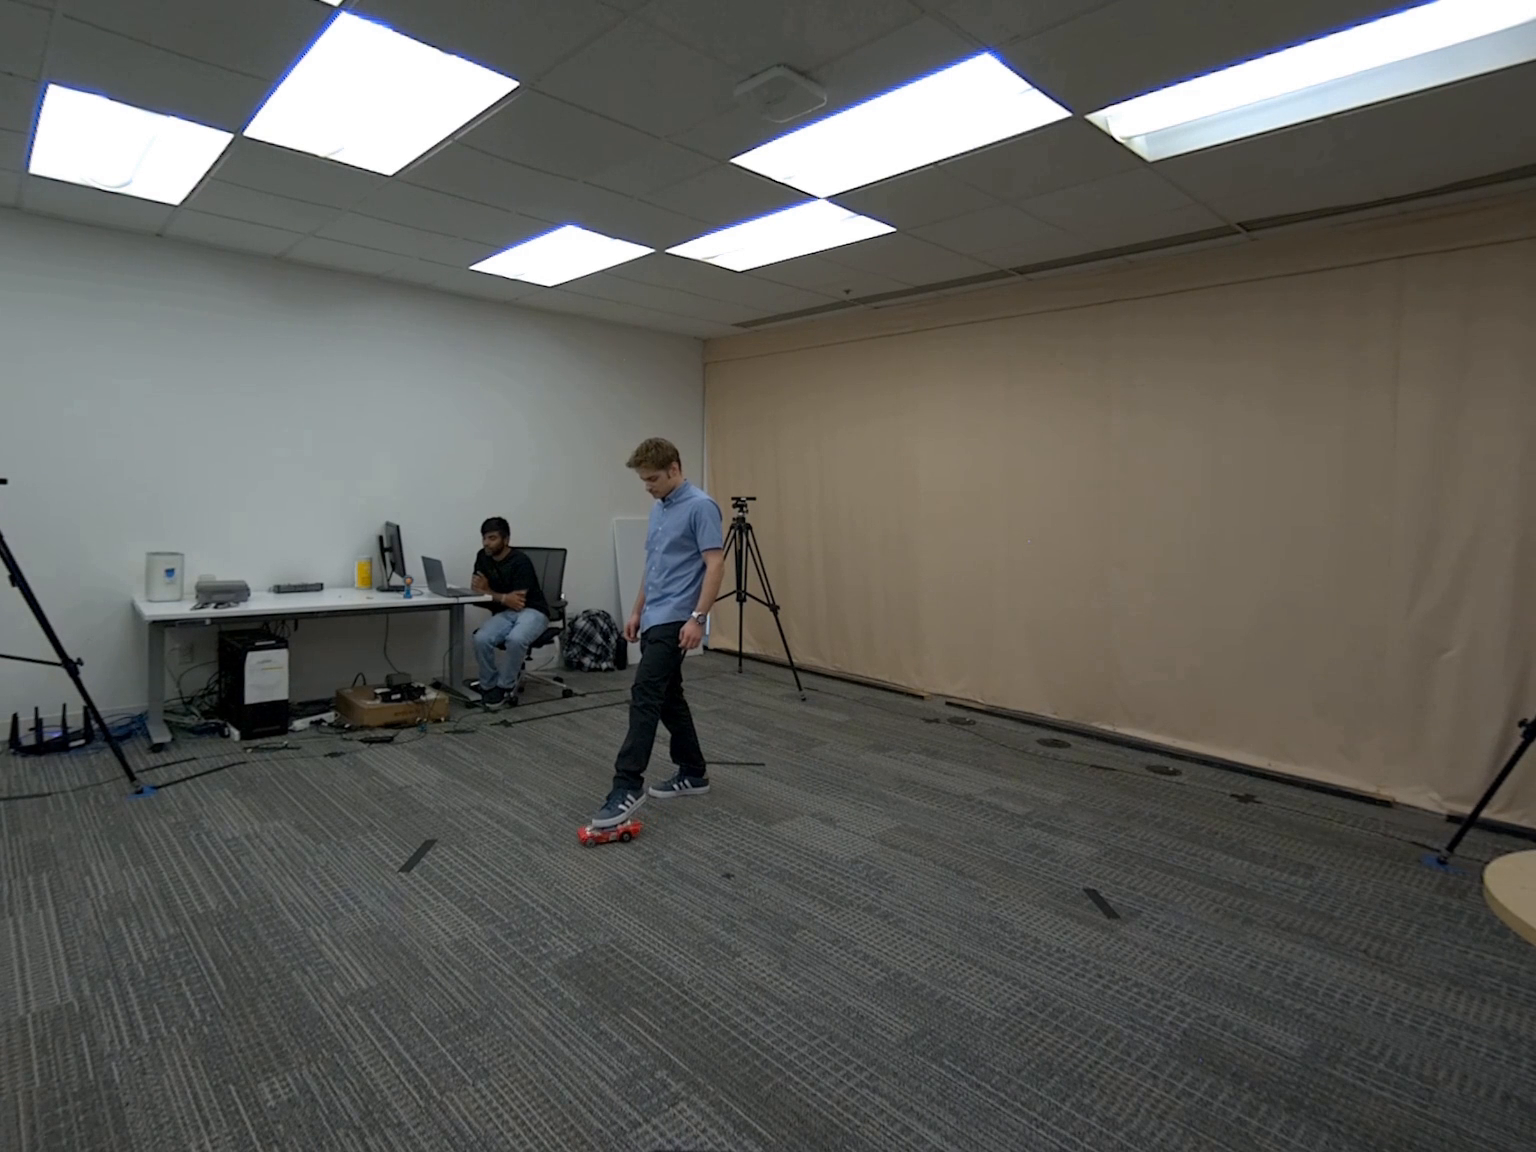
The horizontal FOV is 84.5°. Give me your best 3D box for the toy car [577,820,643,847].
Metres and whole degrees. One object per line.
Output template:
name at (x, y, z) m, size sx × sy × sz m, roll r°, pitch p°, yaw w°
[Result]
toy car at (-0.650, 1.039, 3.412) m, size 0.251 × 0.083 × 0.133 m, roll -12°, pitch 8°, yaw -23°
